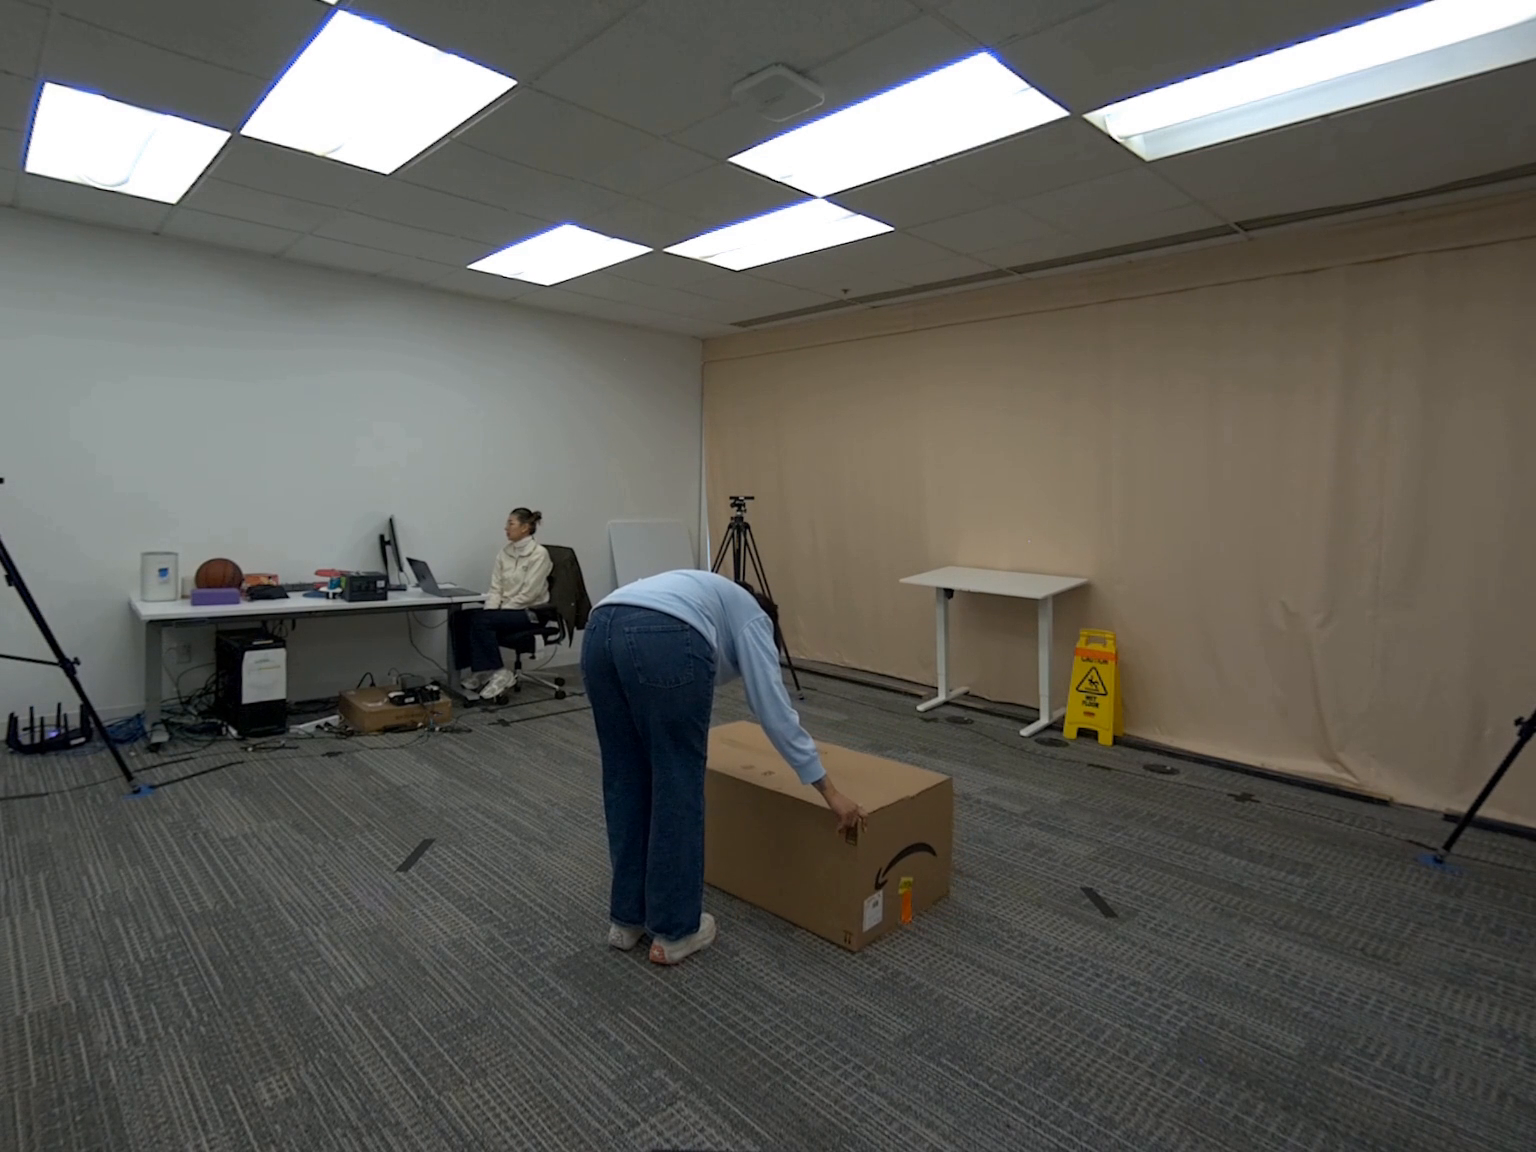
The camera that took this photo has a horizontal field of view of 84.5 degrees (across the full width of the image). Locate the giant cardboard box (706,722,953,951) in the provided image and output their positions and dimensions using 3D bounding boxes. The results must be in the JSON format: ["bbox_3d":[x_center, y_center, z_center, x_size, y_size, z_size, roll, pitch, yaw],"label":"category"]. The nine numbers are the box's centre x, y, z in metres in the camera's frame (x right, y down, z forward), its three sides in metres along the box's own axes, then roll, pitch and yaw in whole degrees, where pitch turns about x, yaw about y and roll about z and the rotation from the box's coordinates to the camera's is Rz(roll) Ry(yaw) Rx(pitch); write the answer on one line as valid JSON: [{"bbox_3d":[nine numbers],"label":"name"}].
[{"bbox_3d":[0.078,0.898,3.129,1.052,0.425,0.564,6,7,43],"label":"giant cardboard box"}]
